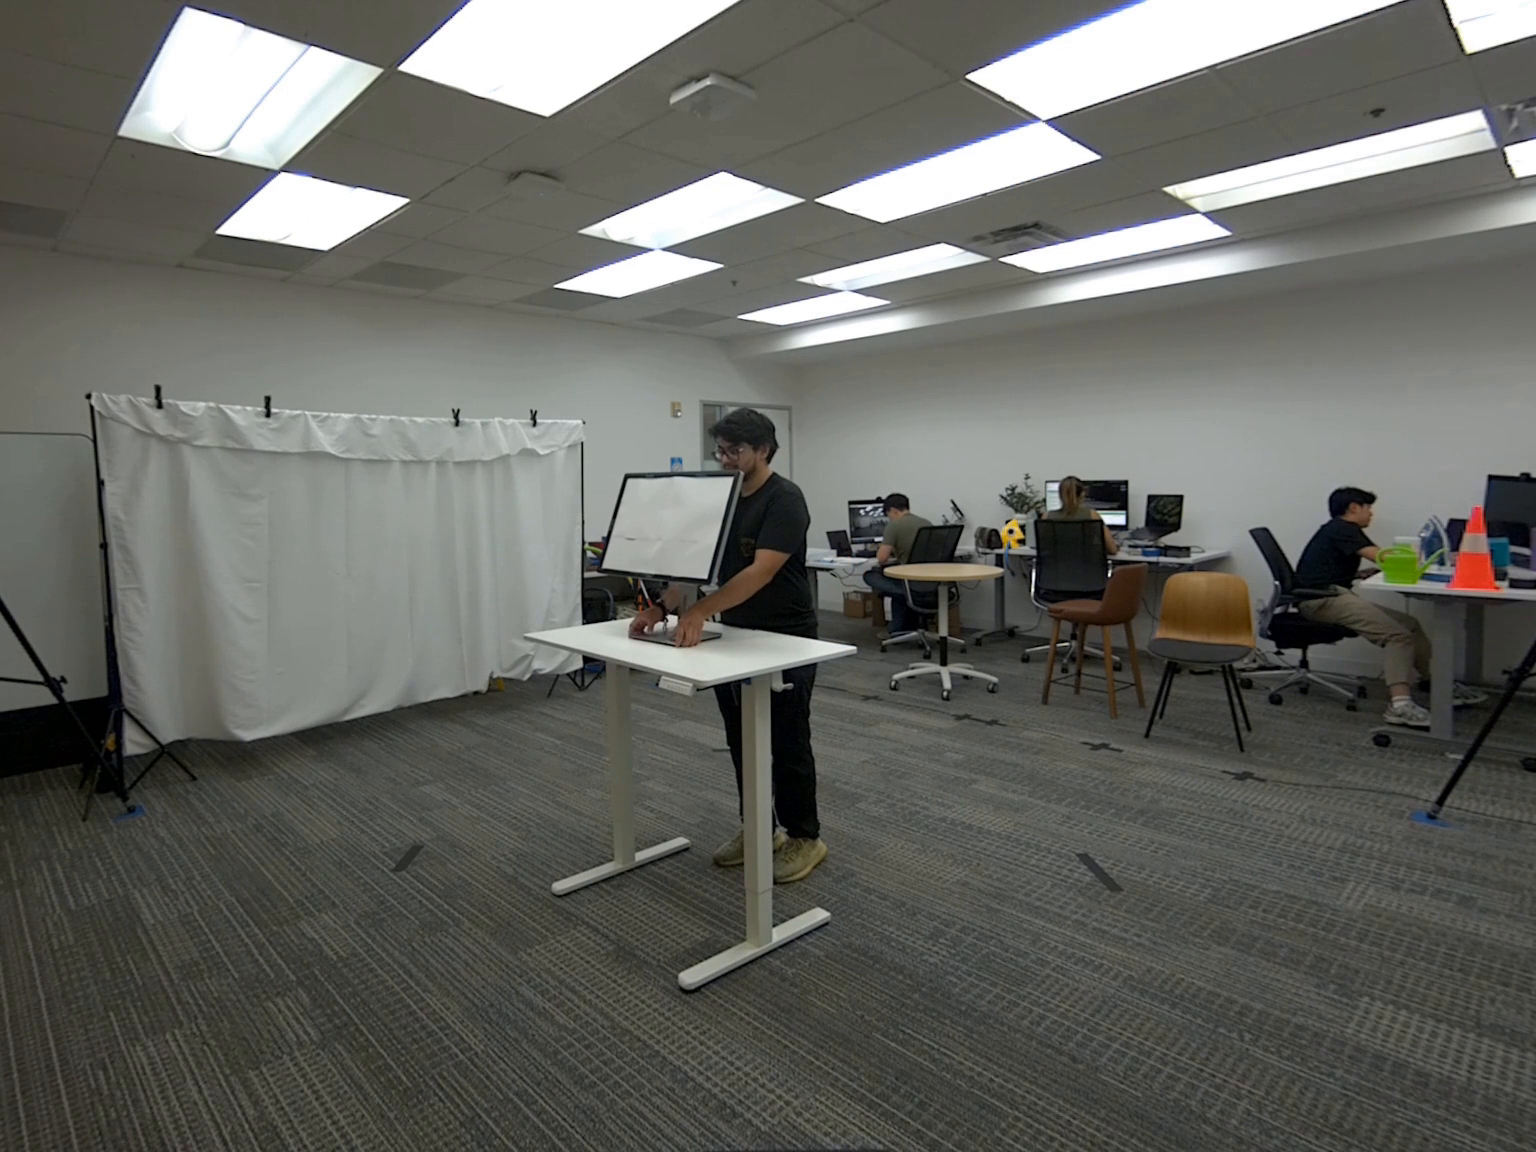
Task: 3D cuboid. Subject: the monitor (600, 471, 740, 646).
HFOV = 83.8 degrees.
[{"bbox_3d":[-0.286,-0.064,2.801,0.582,0.557,0.203,3,-8,42],"label":"monitor"}]
